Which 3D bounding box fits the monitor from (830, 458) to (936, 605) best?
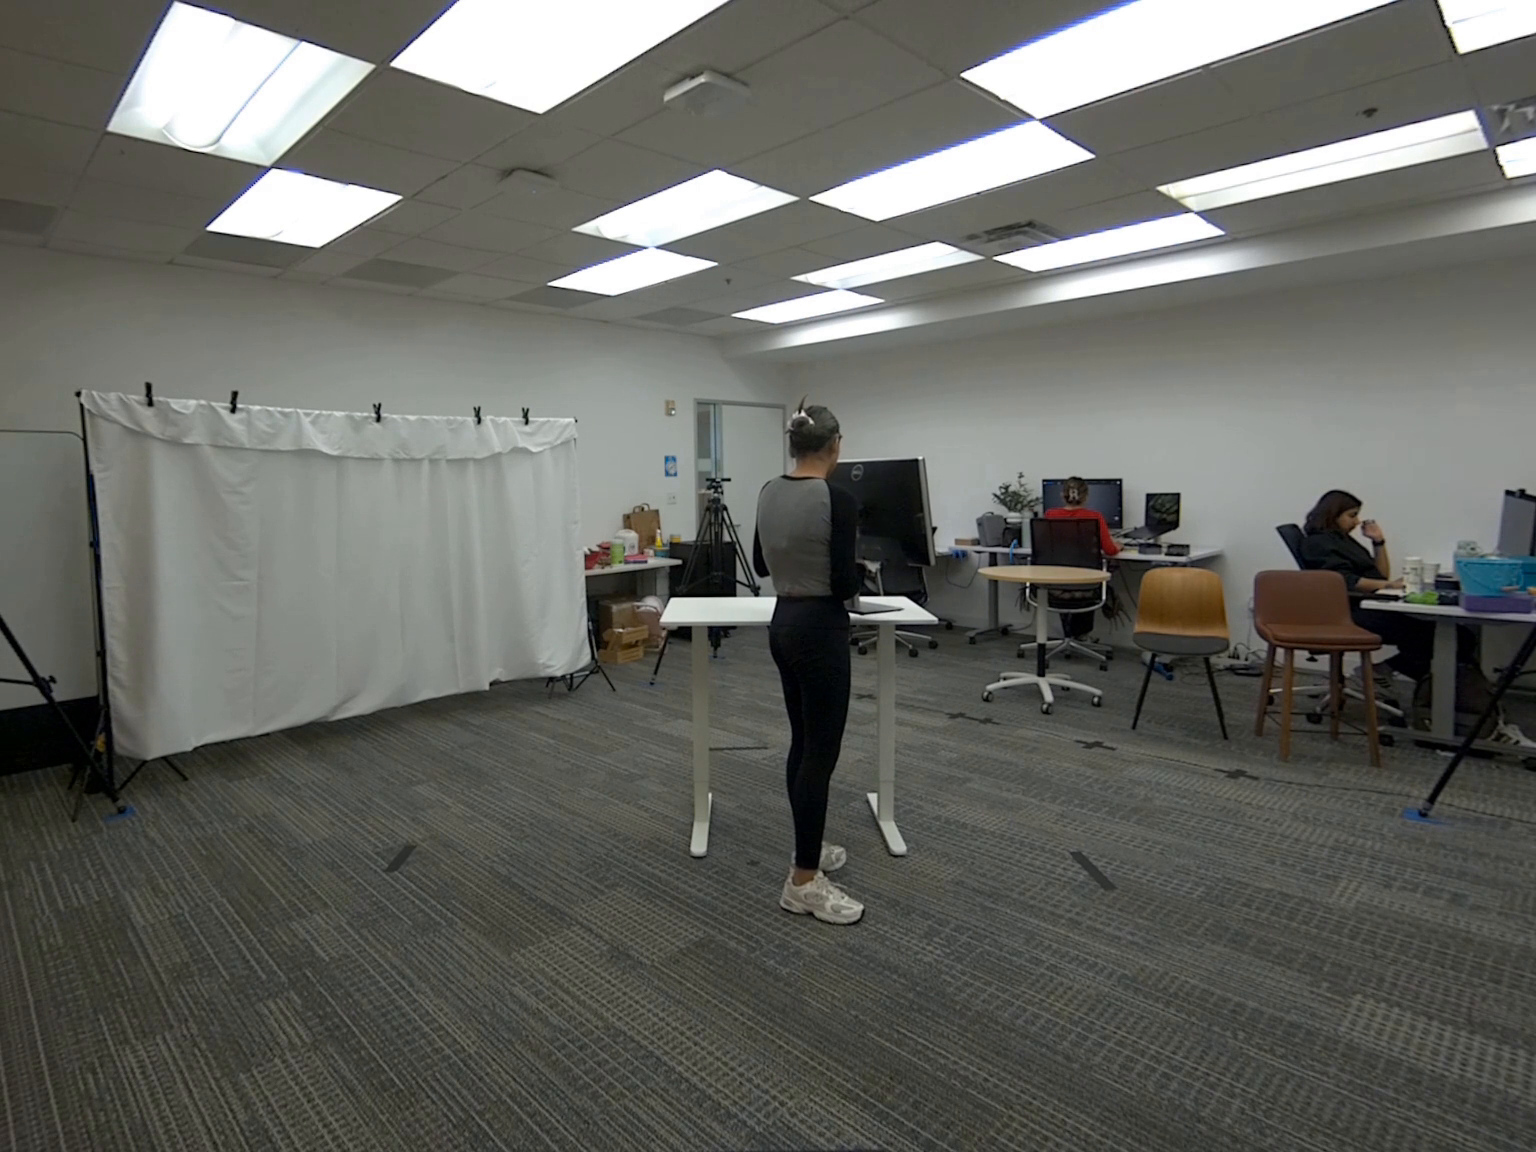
[{"bbox_3d":[0.331,-0.140,2.994,0.182,0.521,0.555,0,4,-35],"label":"monitor"}]
